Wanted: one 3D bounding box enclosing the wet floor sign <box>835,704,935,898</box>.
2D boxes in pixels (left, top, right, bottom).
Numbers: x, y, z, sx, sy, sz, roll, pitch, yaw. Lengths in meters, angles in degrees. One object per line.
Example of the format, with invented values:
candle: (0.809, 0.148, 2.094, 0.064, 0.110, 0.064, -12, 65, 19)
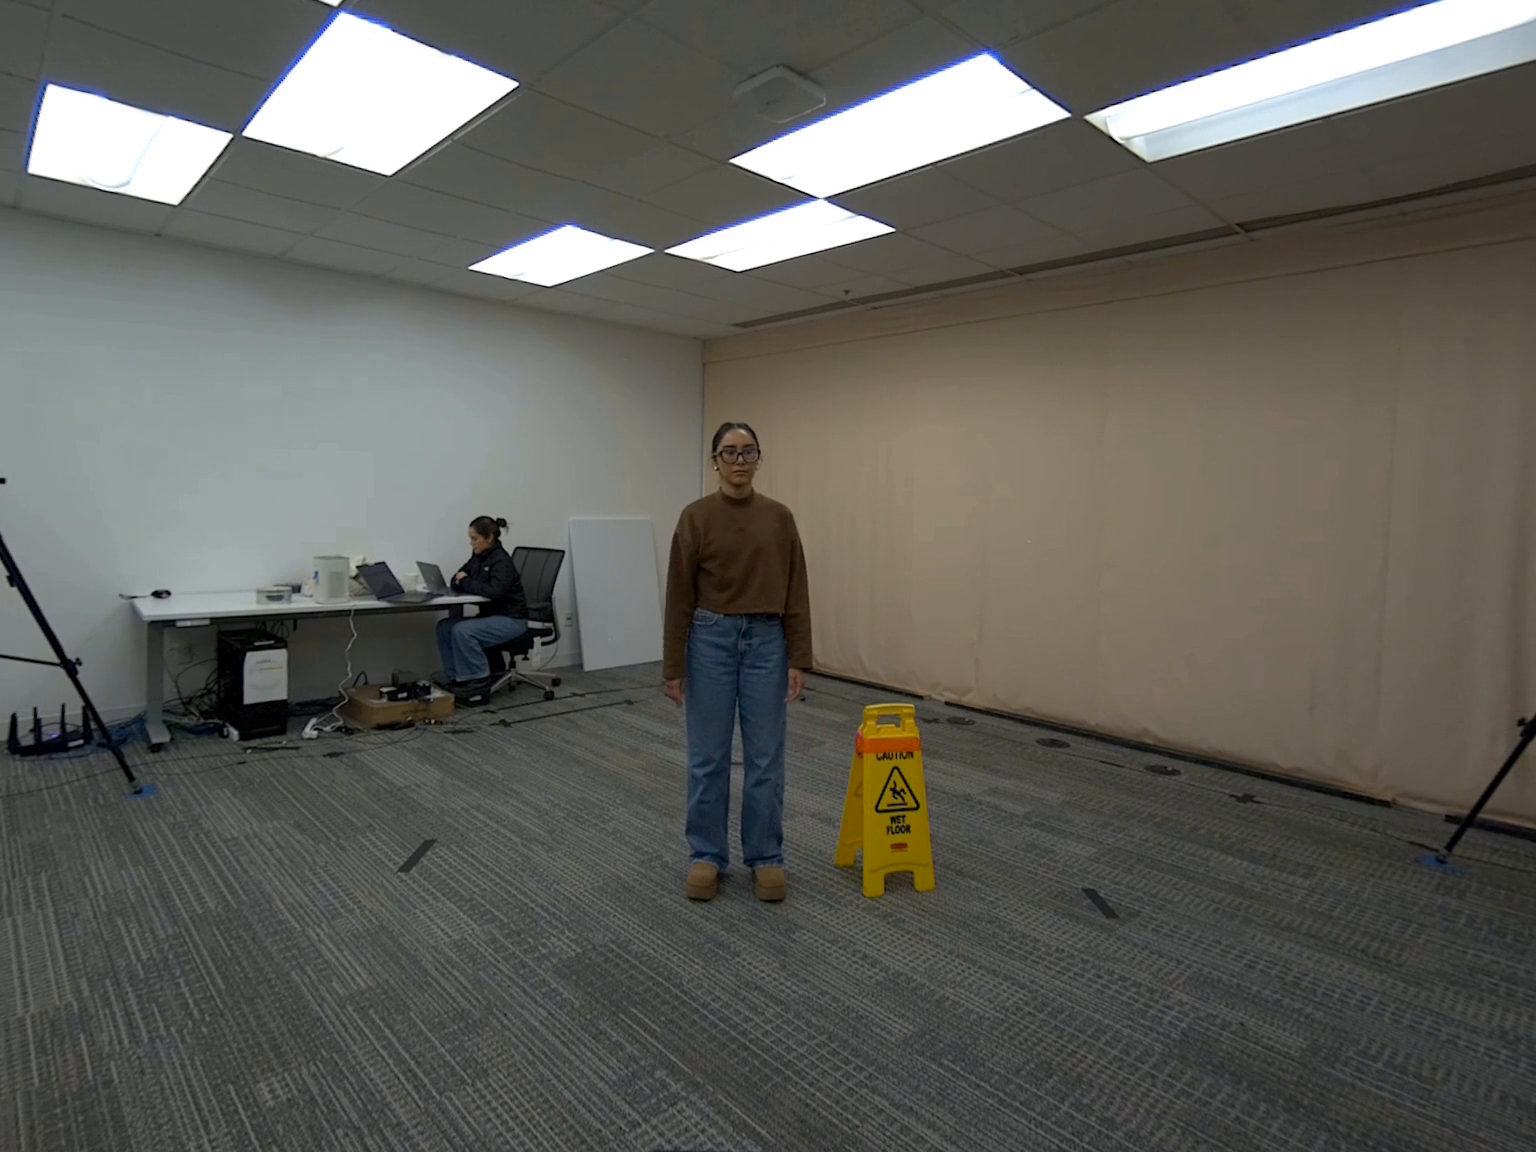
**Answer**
wet floor sign: (0.427, 0.794, 3.107, 0.278, 0.645, 0.294, 1, 2, -17)
